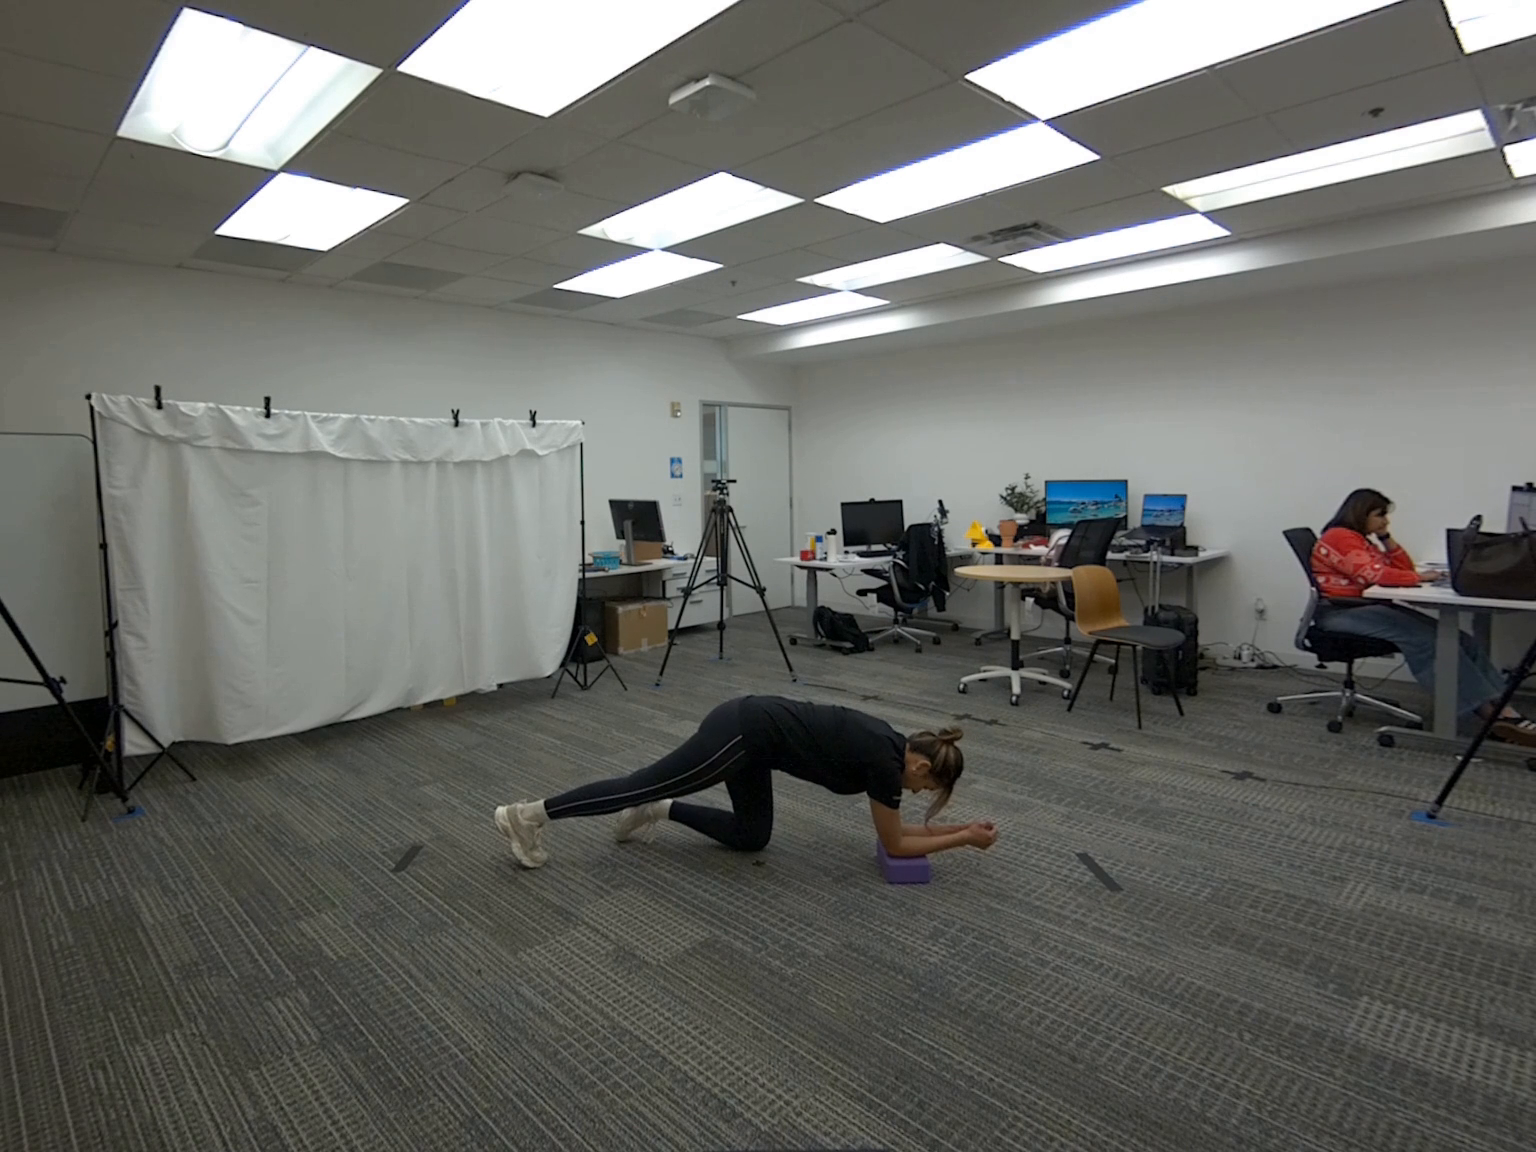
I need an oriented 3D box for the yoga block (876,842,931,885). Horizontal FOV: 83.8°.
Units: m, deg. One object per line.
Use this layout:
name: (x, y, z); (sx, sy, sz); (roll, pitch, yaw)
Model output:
yoga block: (0.476, 0.998, 3.036); (0.149, 0.076, 0.230); (0, 6, -1)
